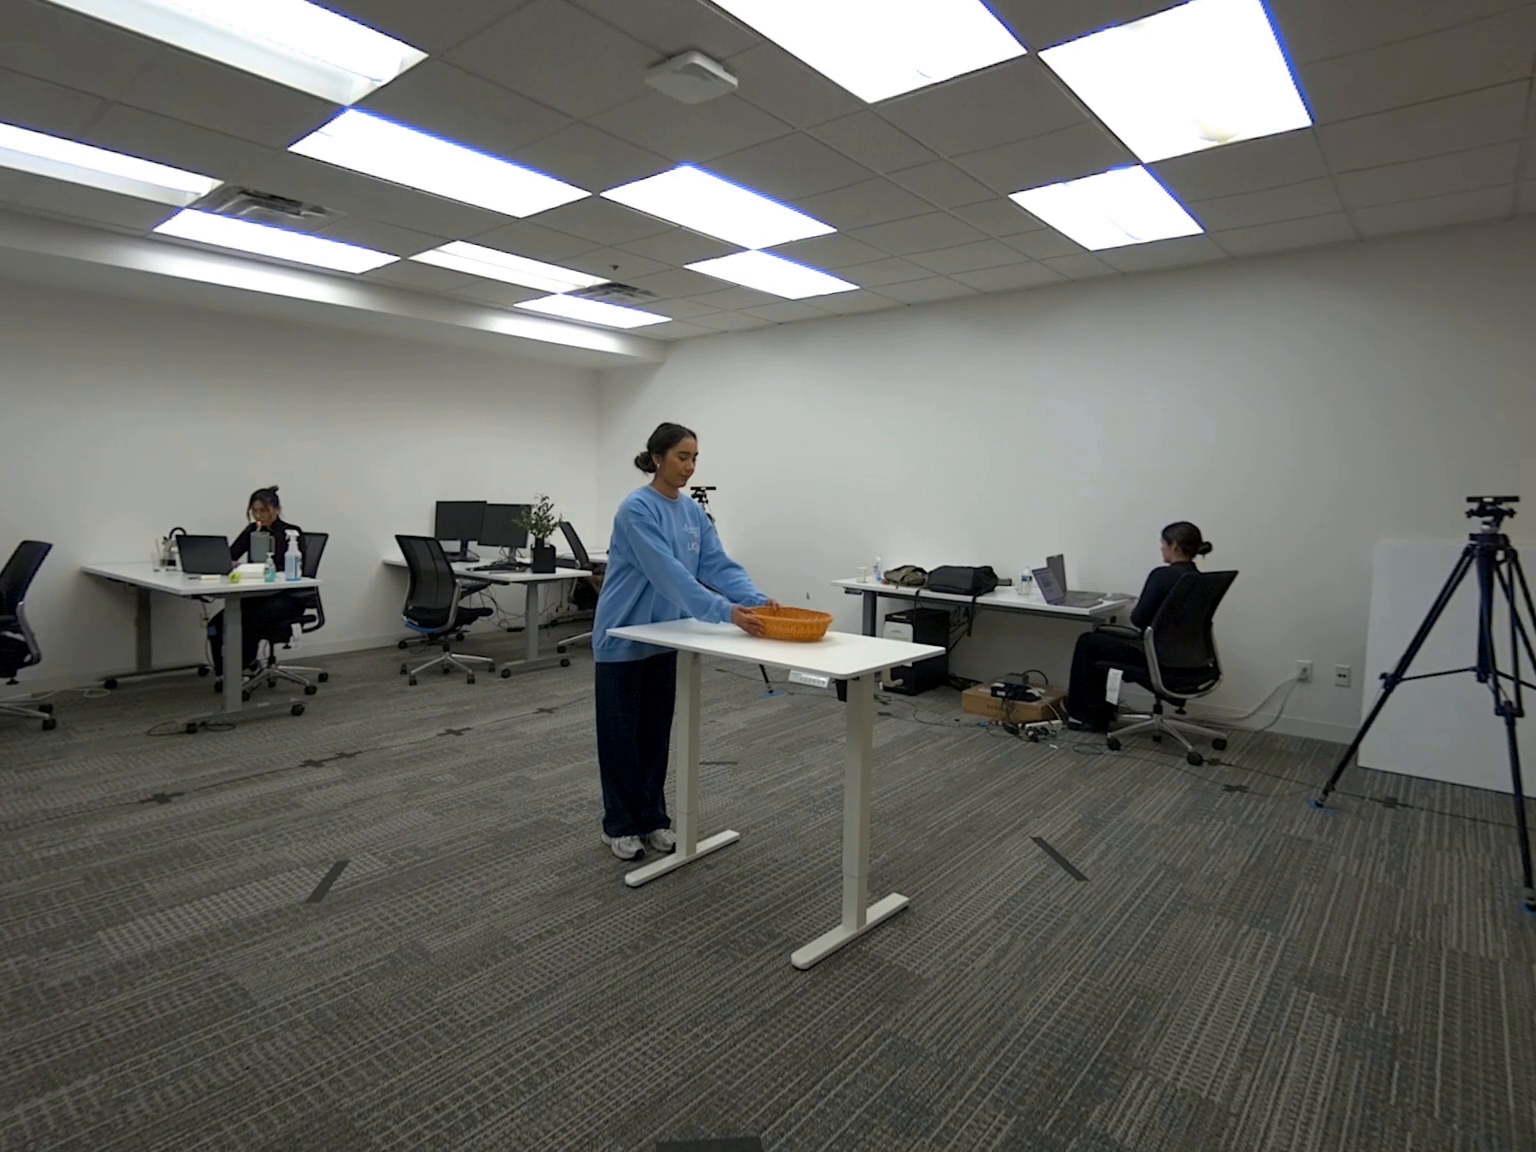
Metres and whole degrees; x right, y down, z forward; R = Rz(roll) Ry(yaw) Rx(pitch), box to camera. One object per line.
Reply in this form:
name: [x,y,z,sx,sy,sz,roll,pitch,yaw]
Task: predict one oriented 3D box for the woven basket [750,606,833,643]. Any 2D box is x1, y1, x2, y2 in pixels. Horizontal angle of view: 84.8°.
woven basket: [0.037,0.155,2.945,0.362,0.073,0.246,4,9,35]
